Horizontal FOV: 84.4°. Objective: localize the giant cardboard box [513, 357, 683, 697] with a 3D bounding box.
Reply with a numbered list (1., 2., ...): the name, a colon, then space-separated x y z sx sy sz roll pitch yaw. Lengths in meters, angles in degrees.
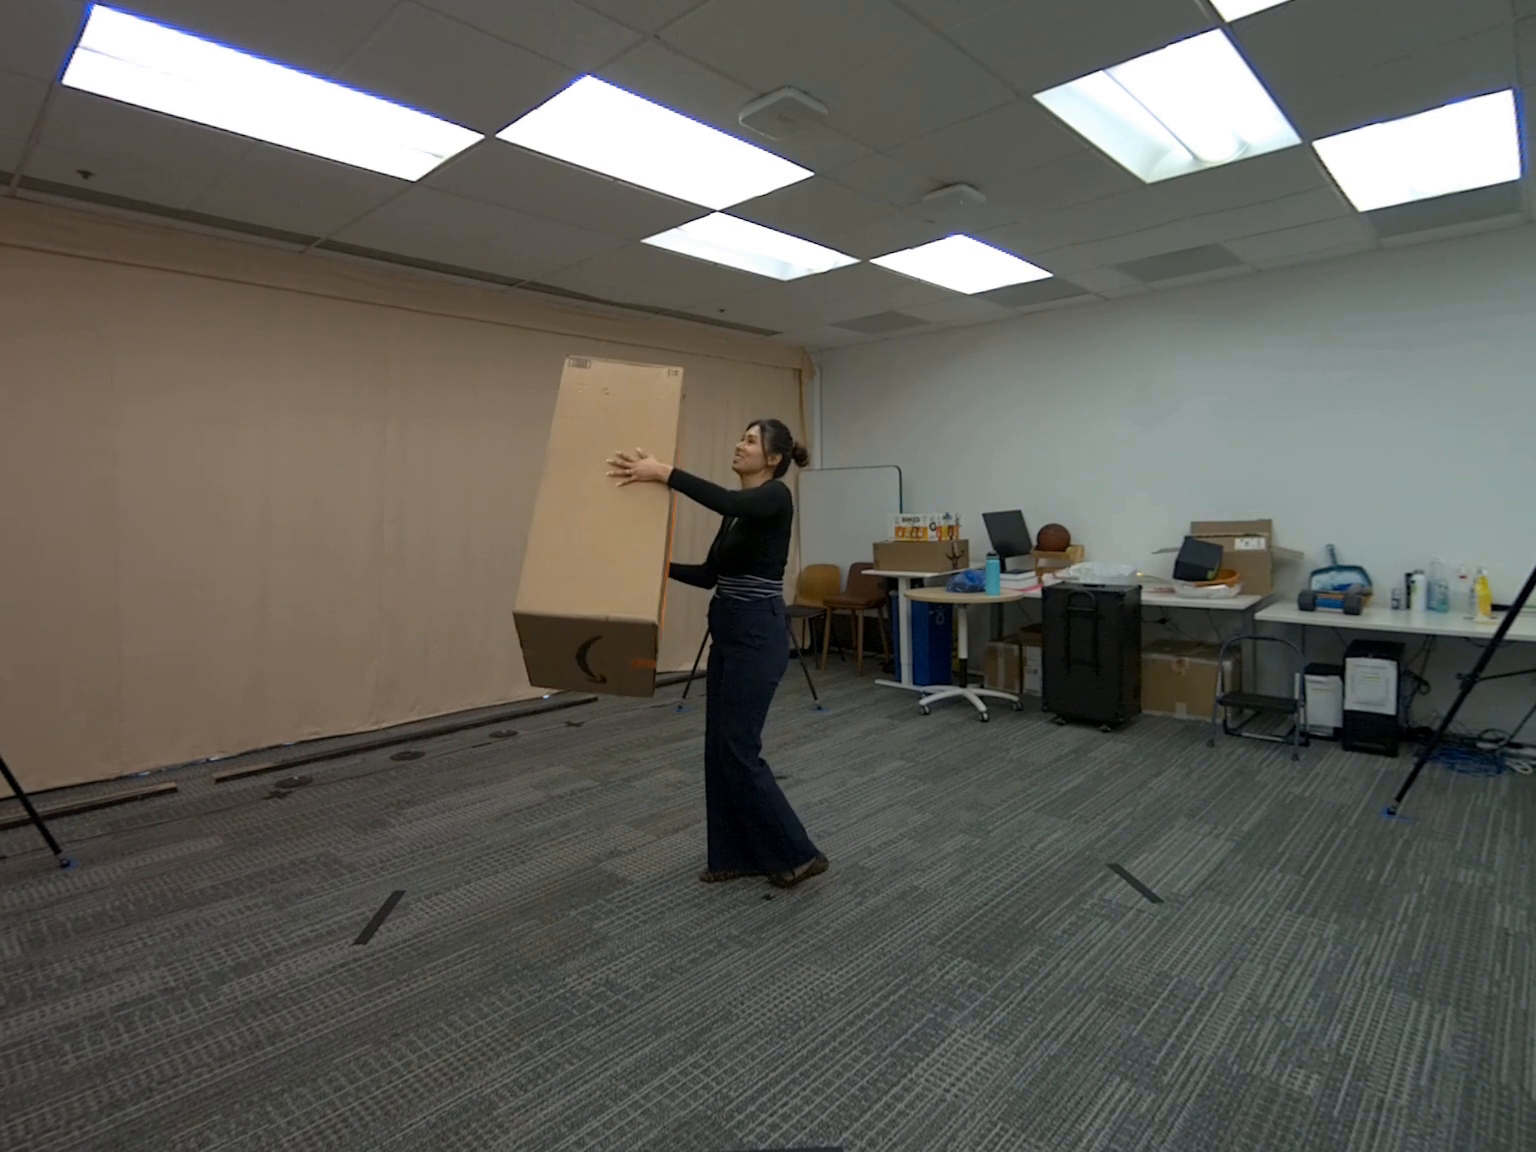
1. giant cardboard box: -0.539 -0.171 2.937 0.424 1.042 0.571 5 -32 -5
